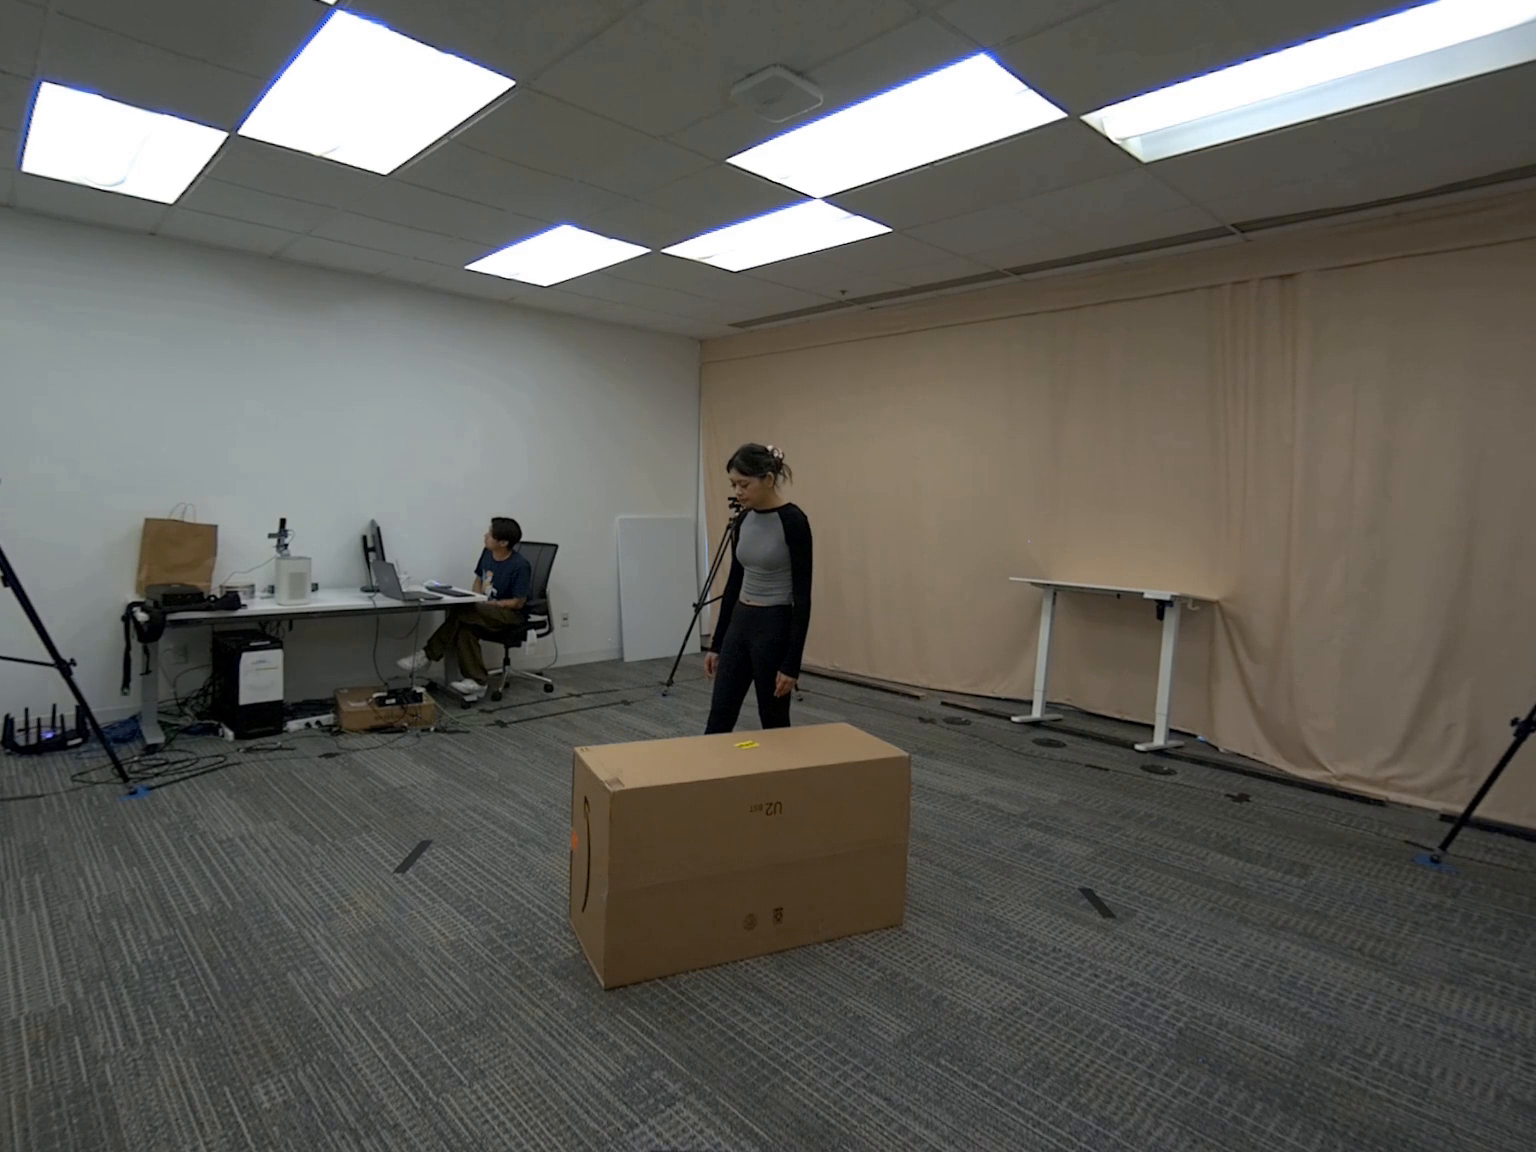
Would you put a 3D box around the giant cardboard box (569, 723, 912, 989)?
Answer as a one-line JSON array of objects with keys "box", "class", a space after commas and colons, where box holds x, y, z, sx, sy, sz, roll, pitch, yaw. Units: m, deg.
[{"box": [-0.093, 0.853, 2.746, 1.007, 0.576, 0.435, 0, 4, -25], "class": "giant cardboard box"}]
